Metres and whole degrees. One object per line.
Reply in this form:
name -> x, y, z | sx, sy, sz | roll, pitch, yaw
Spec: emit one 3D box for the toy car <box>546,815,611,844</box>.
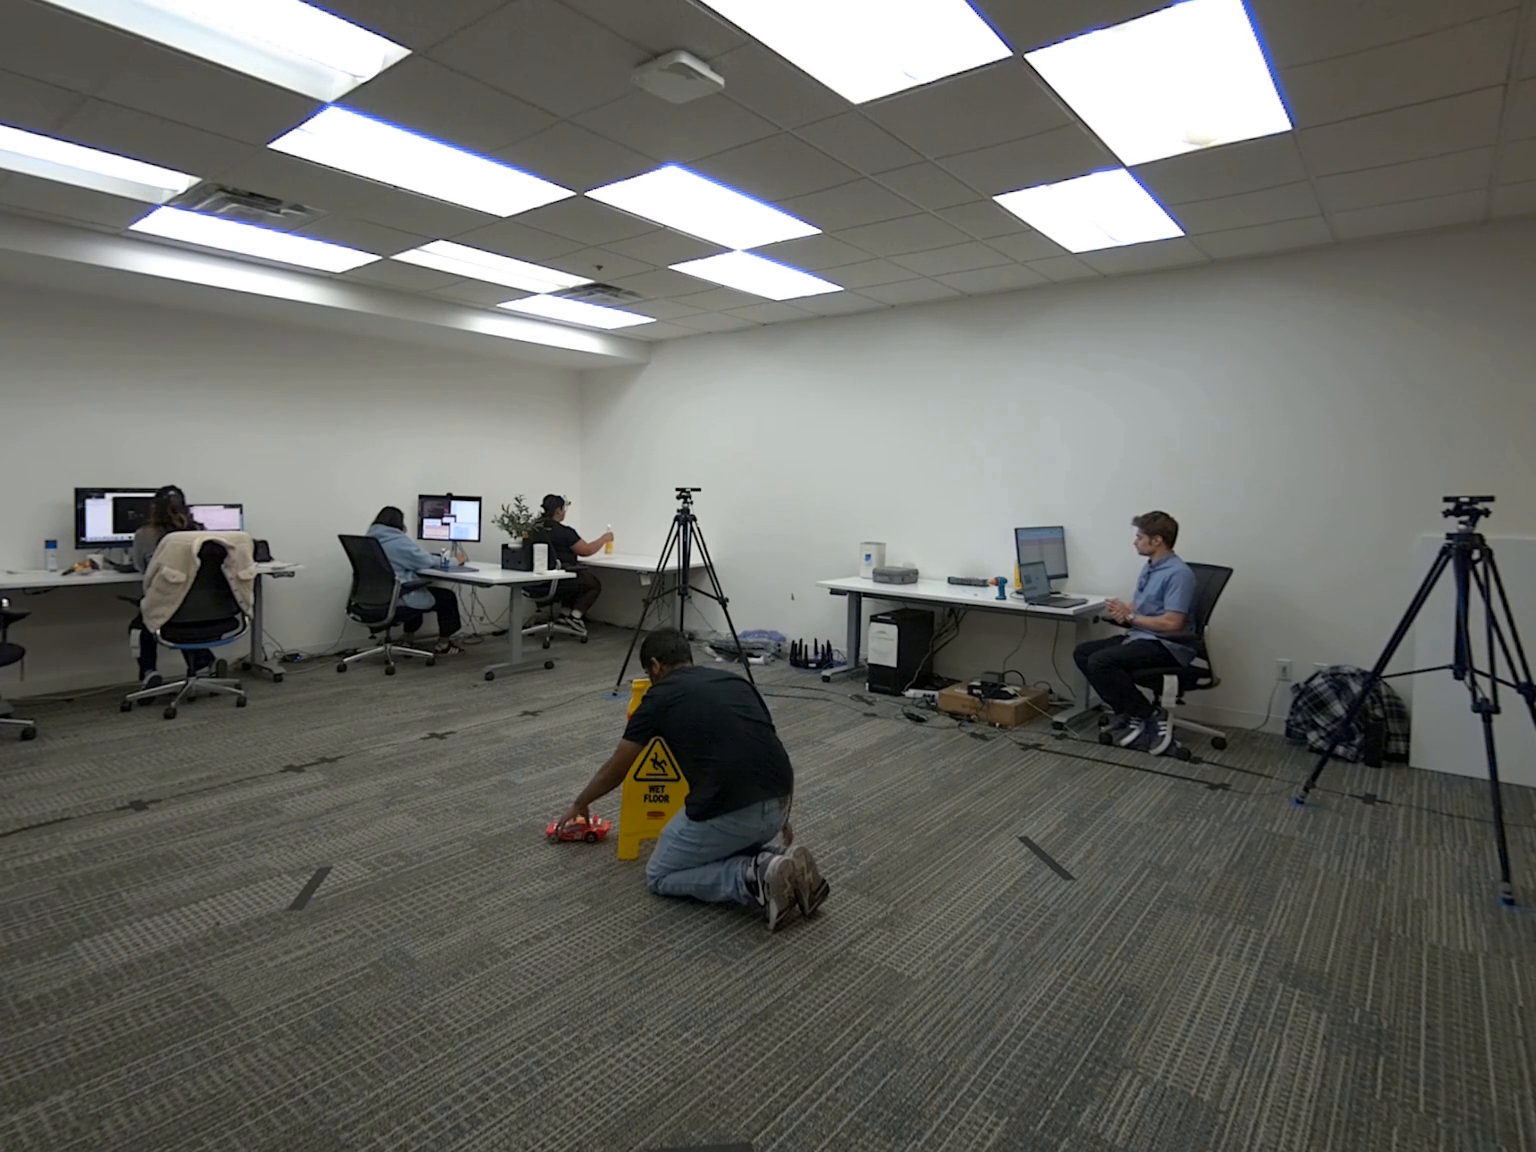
toy car -> -0.751, 1.006, 3.363 | 0.254, 0.083, 0.131 | -12, 6, -2
